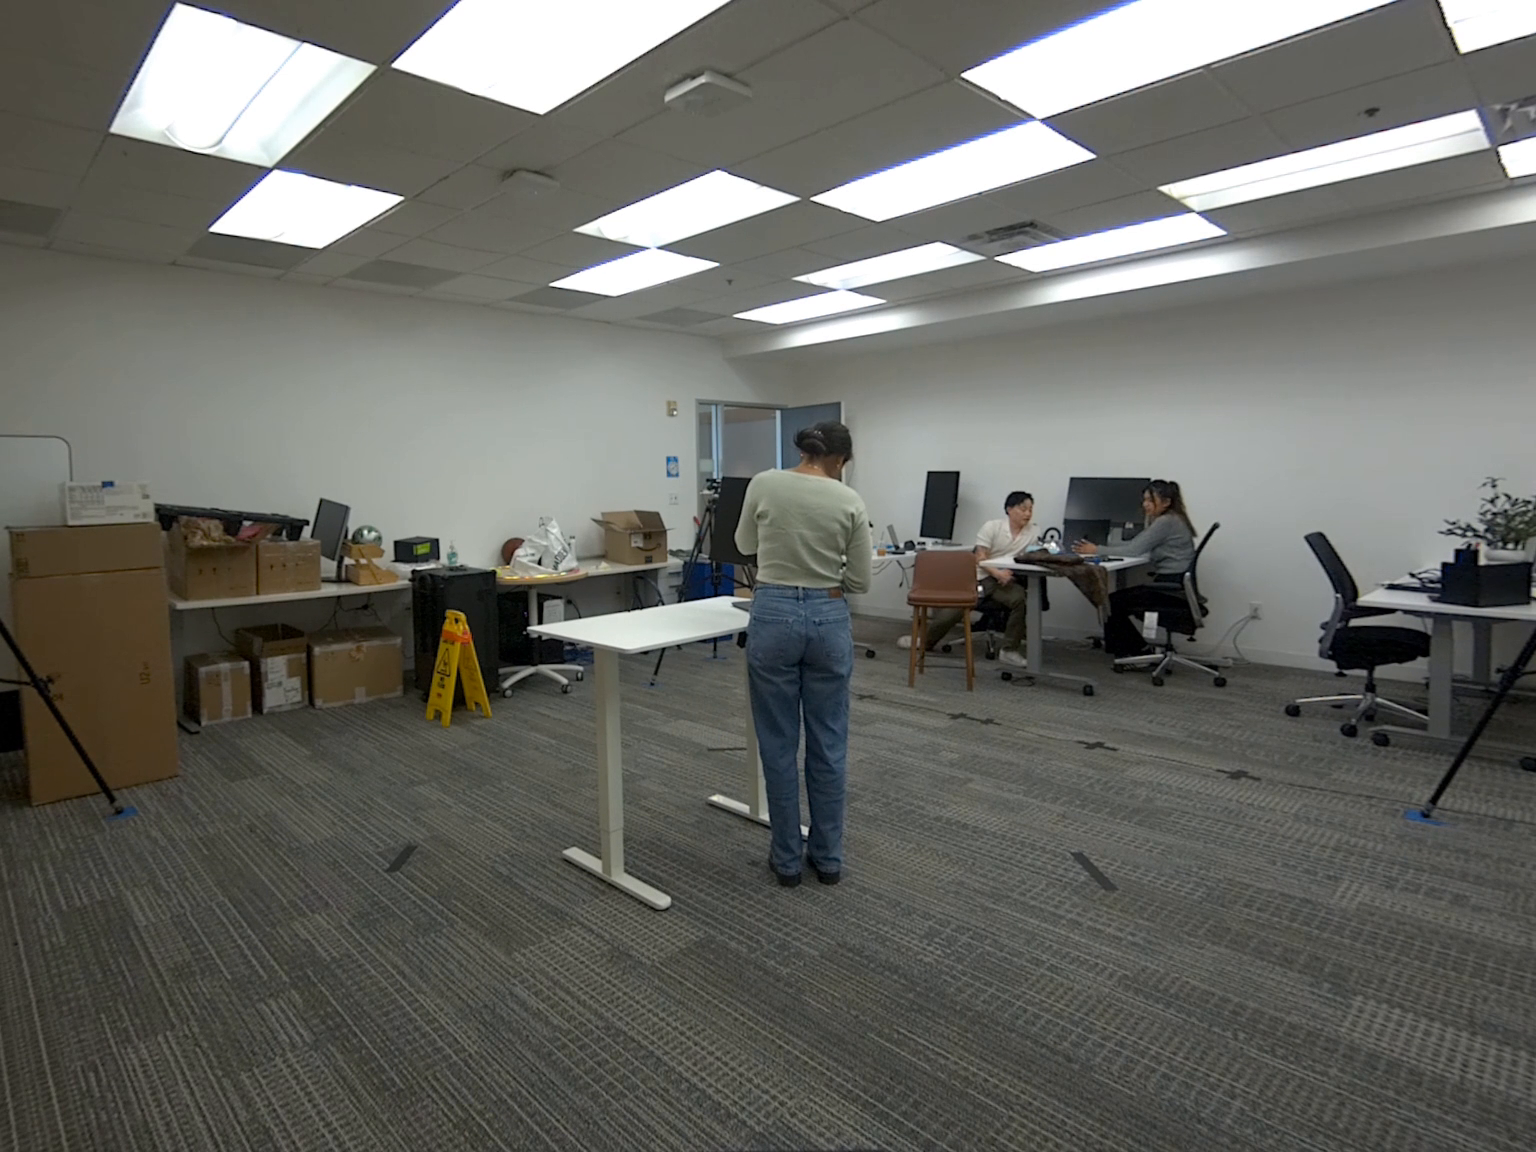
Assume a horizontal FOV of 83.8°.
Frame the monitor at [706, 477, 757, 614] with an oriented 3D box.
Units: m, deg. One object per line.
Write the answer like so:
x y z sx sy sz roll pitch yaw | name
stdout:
-0.001 -0.123 3.362 0.182 0.520 0.556 -4 8 -42 | monitor
